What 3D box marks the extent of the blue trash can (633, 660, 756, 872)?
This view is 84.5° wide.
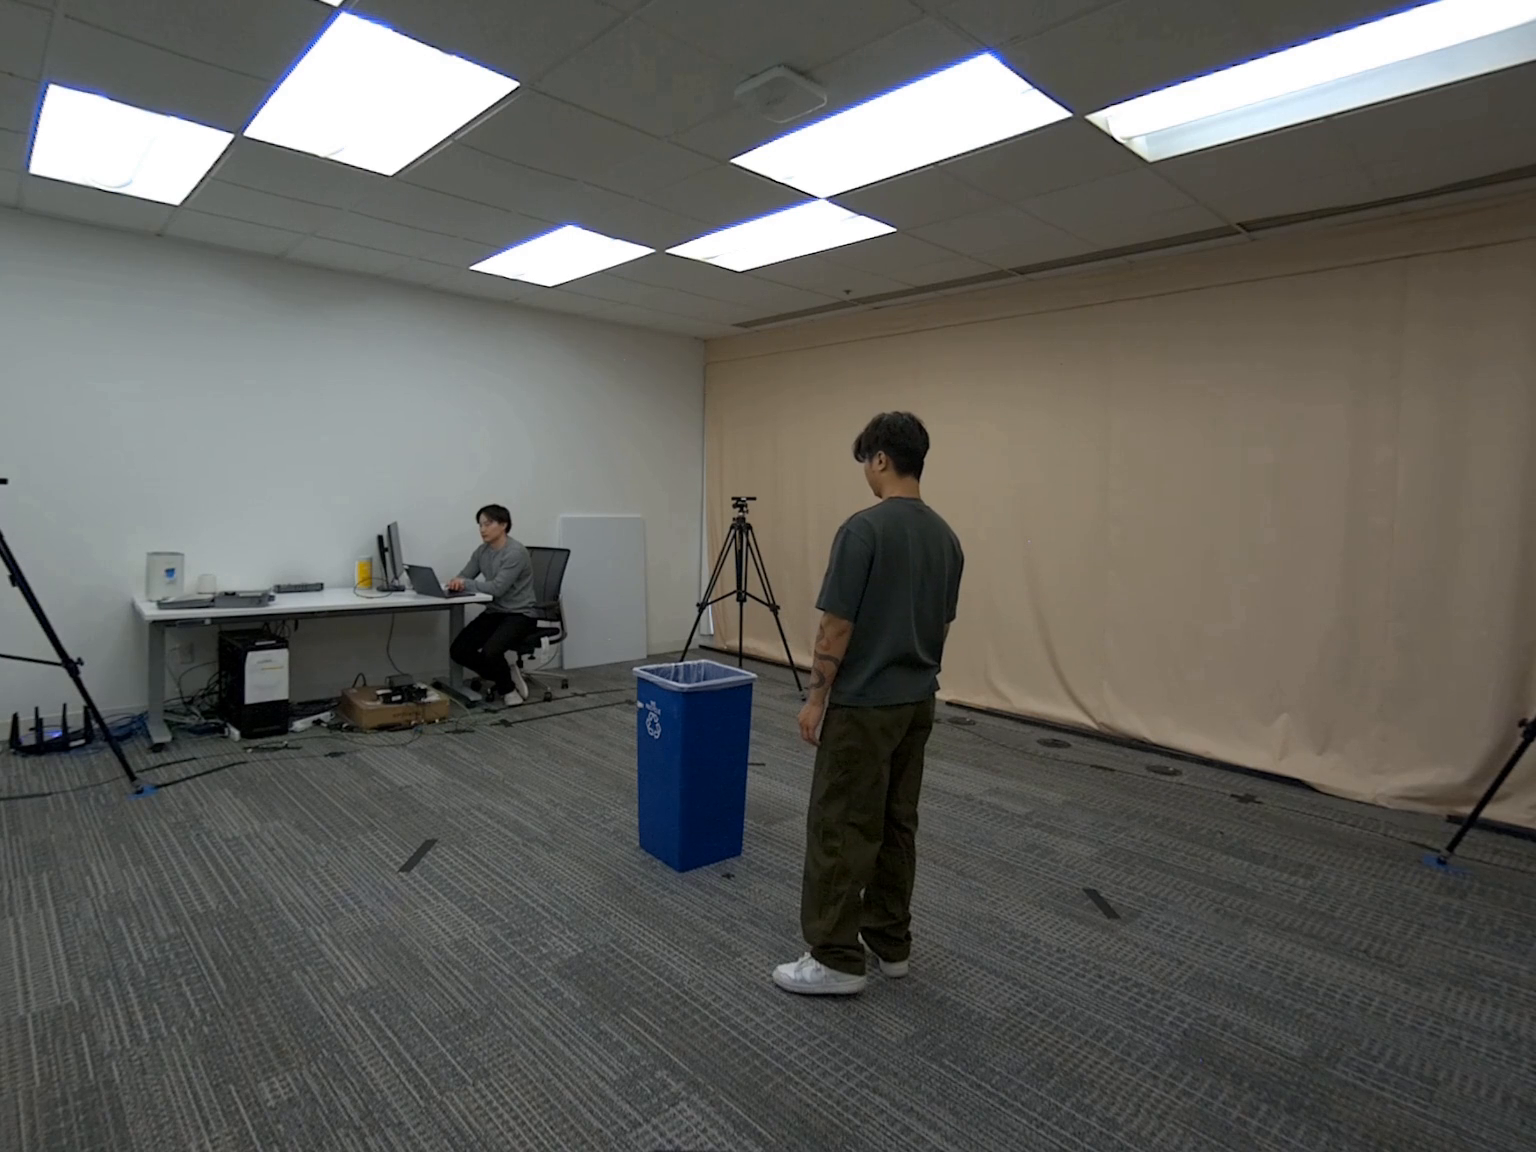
[{"bbox_3d":[-0.307,0.729,3.298,0.365,0.712,0.388,-1,4,-40],"label":"blue trash can"}]
